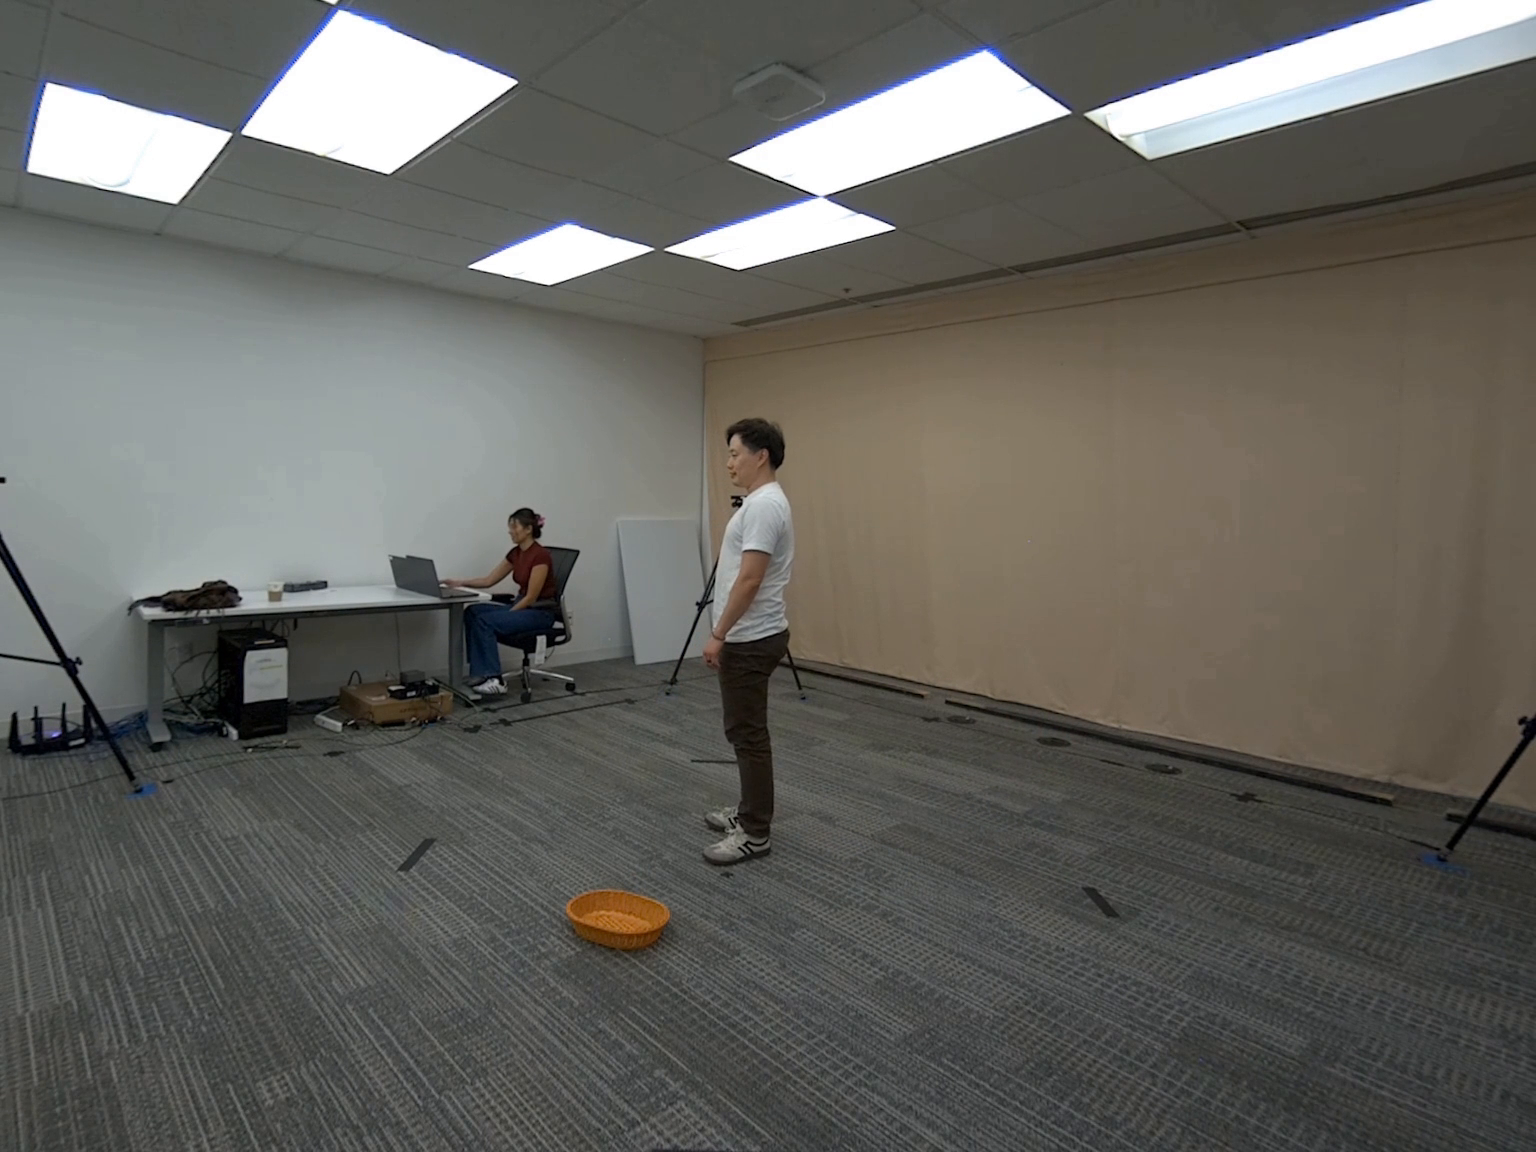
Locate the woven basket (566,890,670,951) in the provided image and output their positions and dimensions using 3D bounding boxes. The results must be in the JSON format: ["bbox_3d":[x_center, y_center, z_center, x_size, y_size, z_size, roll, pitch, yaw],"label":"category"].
[{"bbox_3d":[-0.485,1.095,2.681,0.358,0.073,0.248,4,4,27],"label":"woven basket"}]
